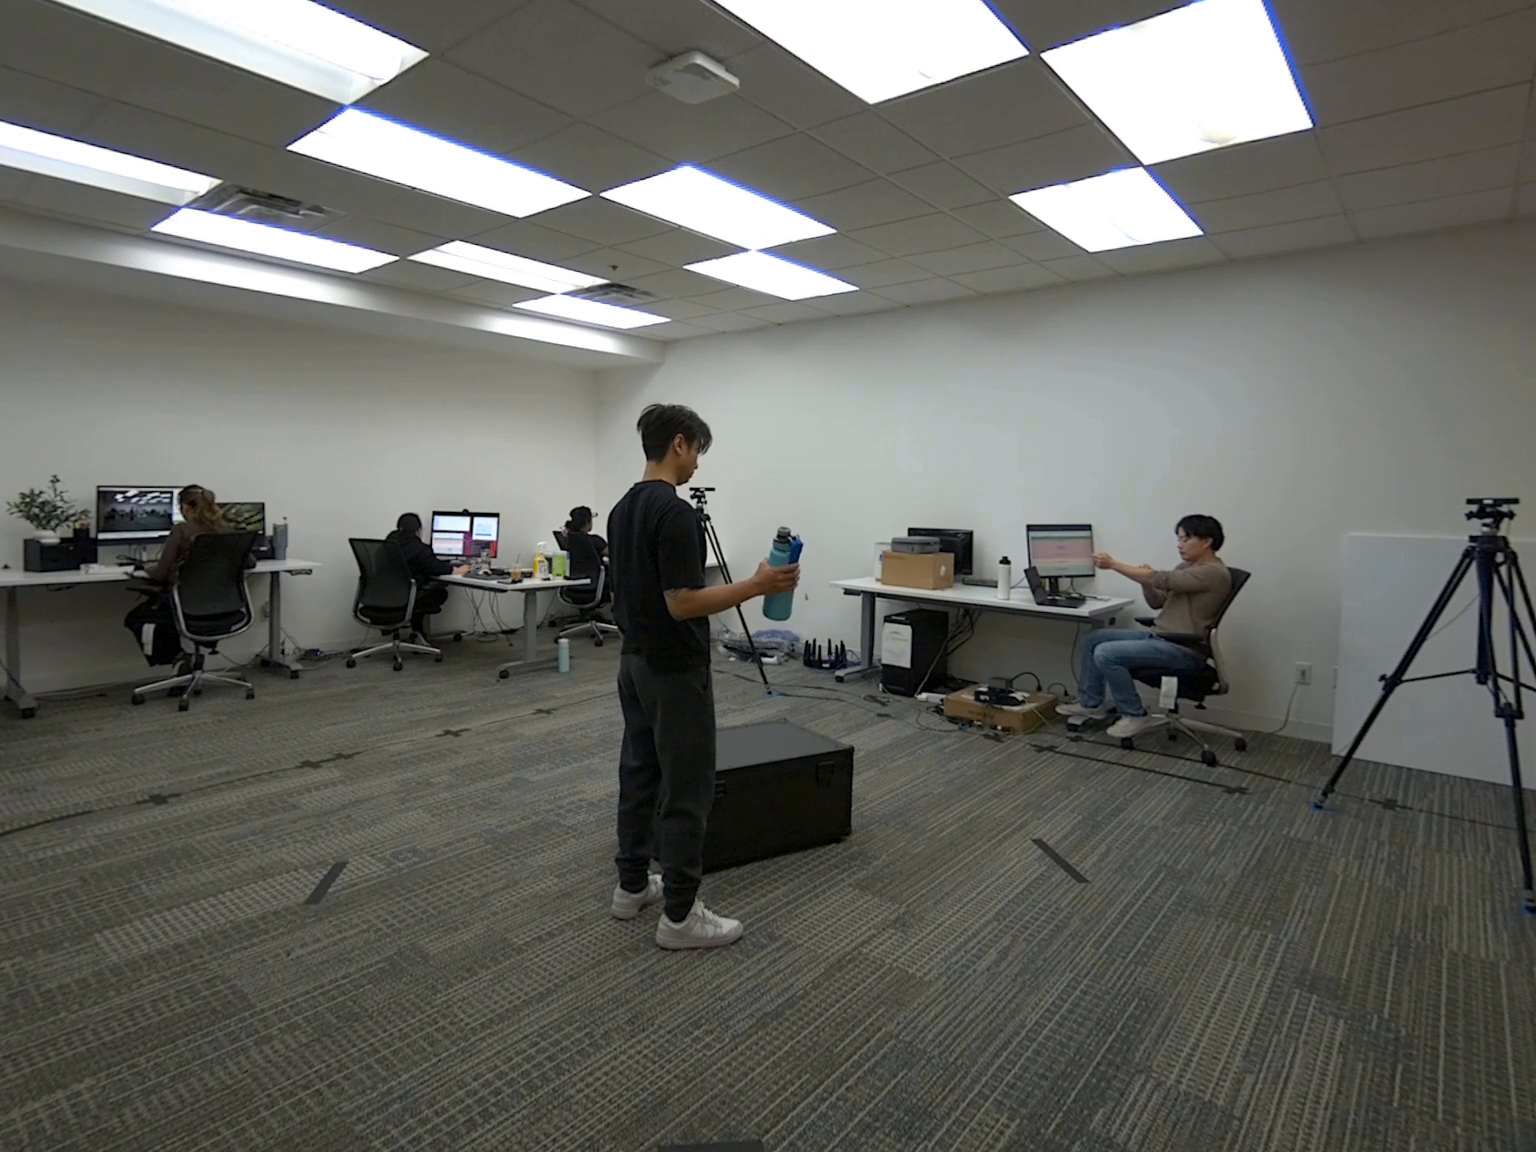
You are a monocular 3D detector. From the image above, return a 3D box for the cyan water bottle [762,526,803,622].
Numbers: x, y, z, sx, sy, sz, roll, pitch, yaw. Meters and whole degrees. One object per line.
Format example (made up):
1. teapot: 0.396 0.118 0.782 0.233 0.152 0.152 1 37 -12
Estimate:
1. cyan water bottle: 0.030 -0.011 2.564 0.092 0.278 0.094 7 24 -5
